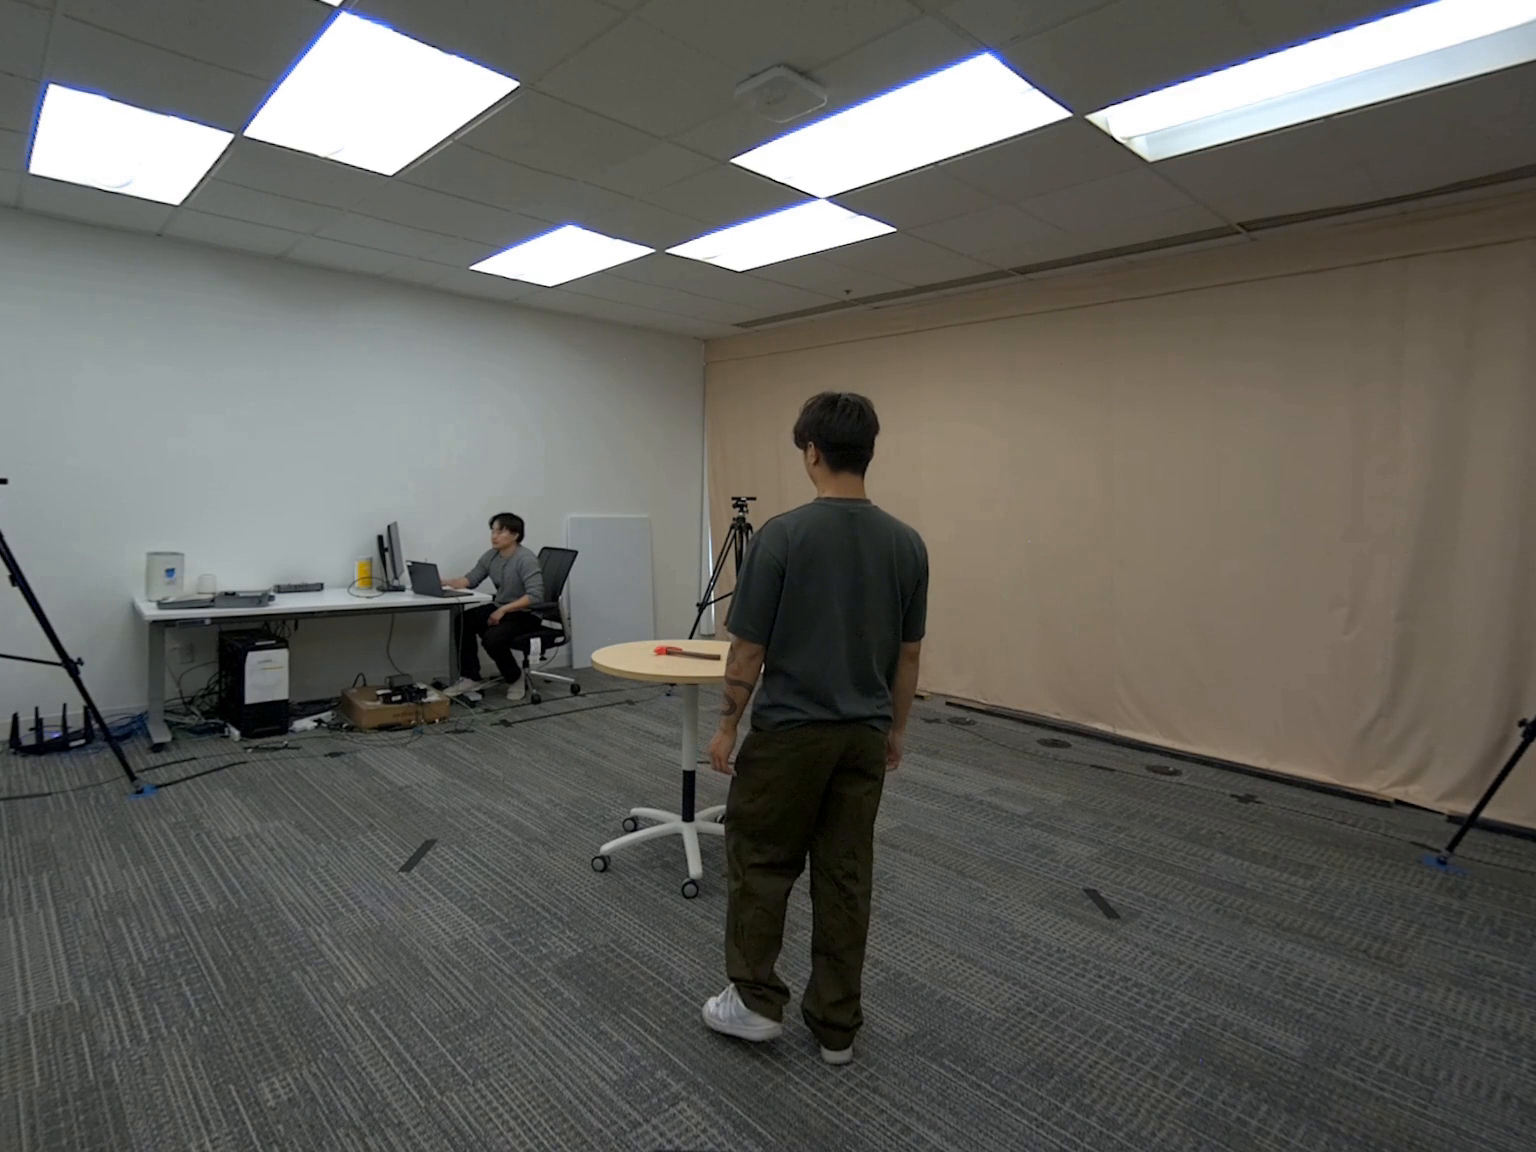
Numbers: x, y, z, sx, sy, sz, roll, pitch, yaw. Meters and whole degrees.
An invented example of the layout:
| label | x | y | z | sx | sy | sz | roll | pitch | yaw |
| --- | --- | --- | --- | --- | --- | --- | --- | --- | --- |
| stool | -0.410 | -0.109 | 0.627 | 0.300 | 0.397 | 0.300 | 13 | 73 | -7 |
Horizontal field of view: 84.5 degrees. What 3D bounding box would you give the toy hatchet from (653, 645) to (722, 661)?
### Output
| label | x | y | z | sx | sy | sz | roll | pitch | yaw |
| --- | --- | --- | --- | --- | --- | --- | --- | --- | --- |
| toy hatchet | -0.308 | 0.297 | 3.237 | 0.273 | 0.029 | 0.129 | 5 | 1 | 12 |
